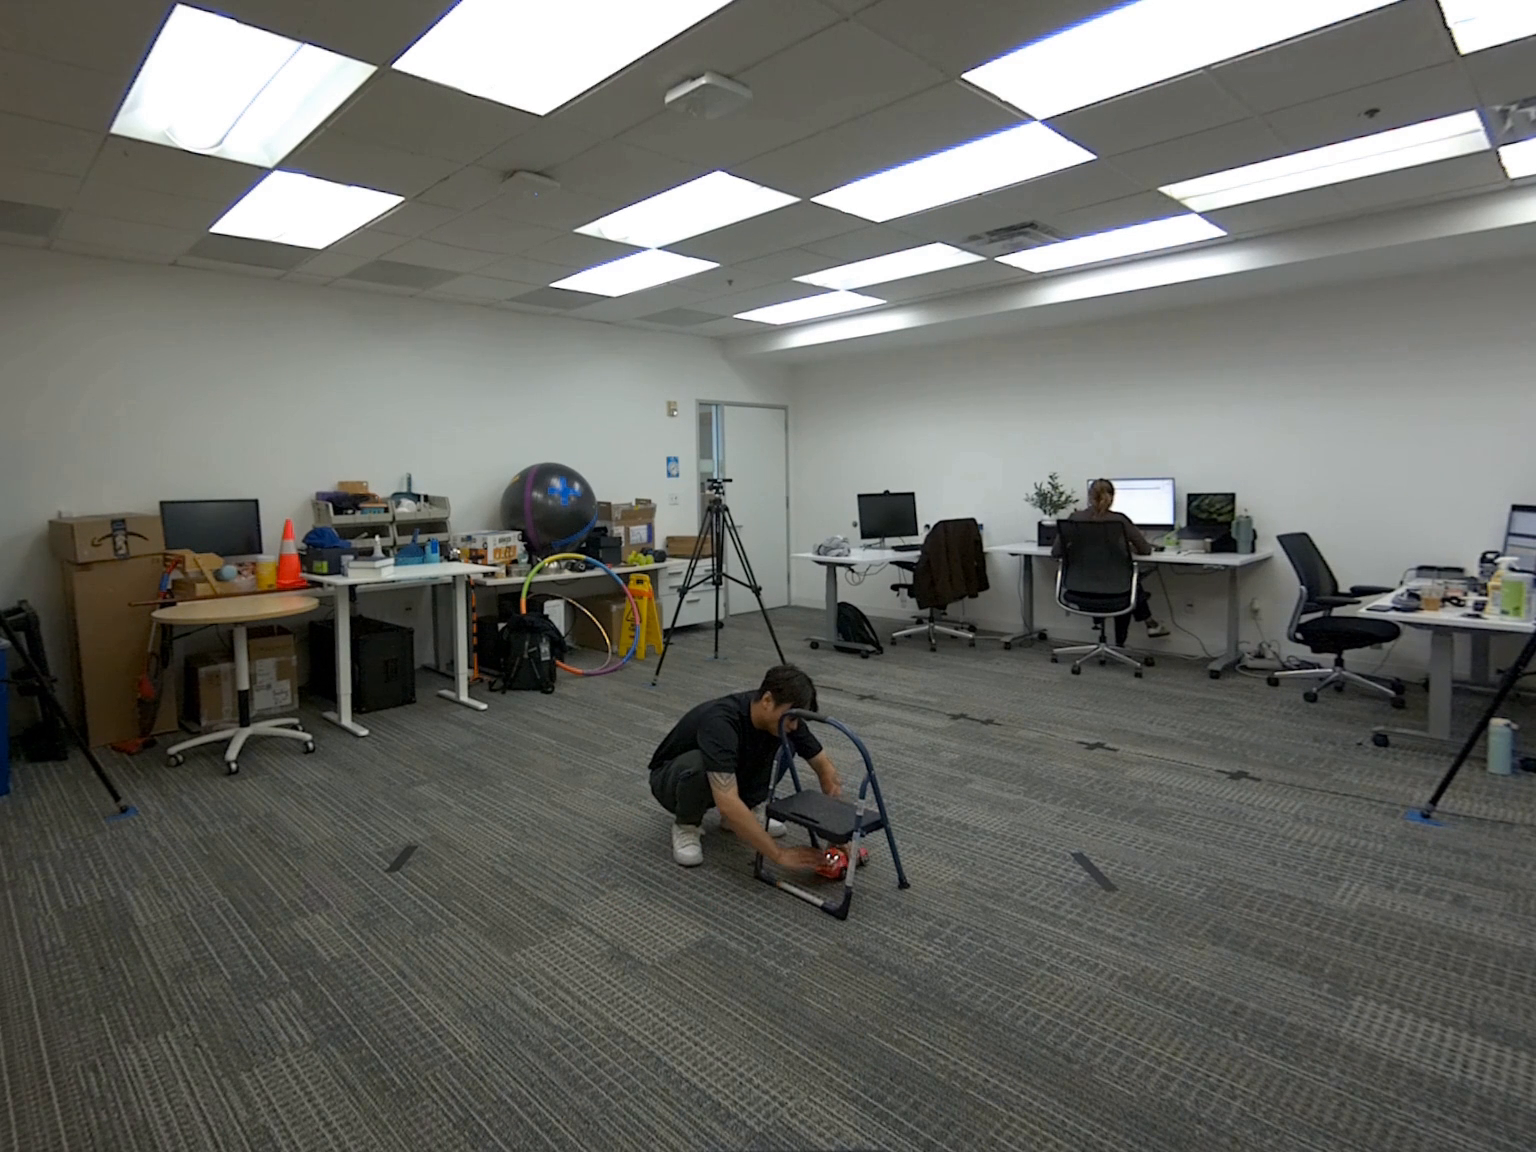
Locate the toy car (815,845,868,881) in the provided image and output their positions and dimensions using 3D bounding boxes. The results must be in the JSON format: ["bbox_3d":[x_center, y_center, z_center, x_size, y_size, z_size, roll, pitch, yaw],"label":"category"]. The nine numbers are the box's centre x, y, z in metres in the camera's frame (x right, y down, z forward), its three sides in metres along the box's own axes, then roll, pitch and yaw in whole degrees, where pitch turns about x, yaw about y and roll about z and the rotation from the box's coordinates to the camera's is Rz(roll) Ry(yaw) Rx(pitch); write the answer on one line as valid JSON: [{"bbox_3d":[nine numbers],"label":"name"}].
[{"bbox_3d":[0.254,1.018,3.036,0.134,0.083,0.246,5,-3,38],"label":"toy car"}]
